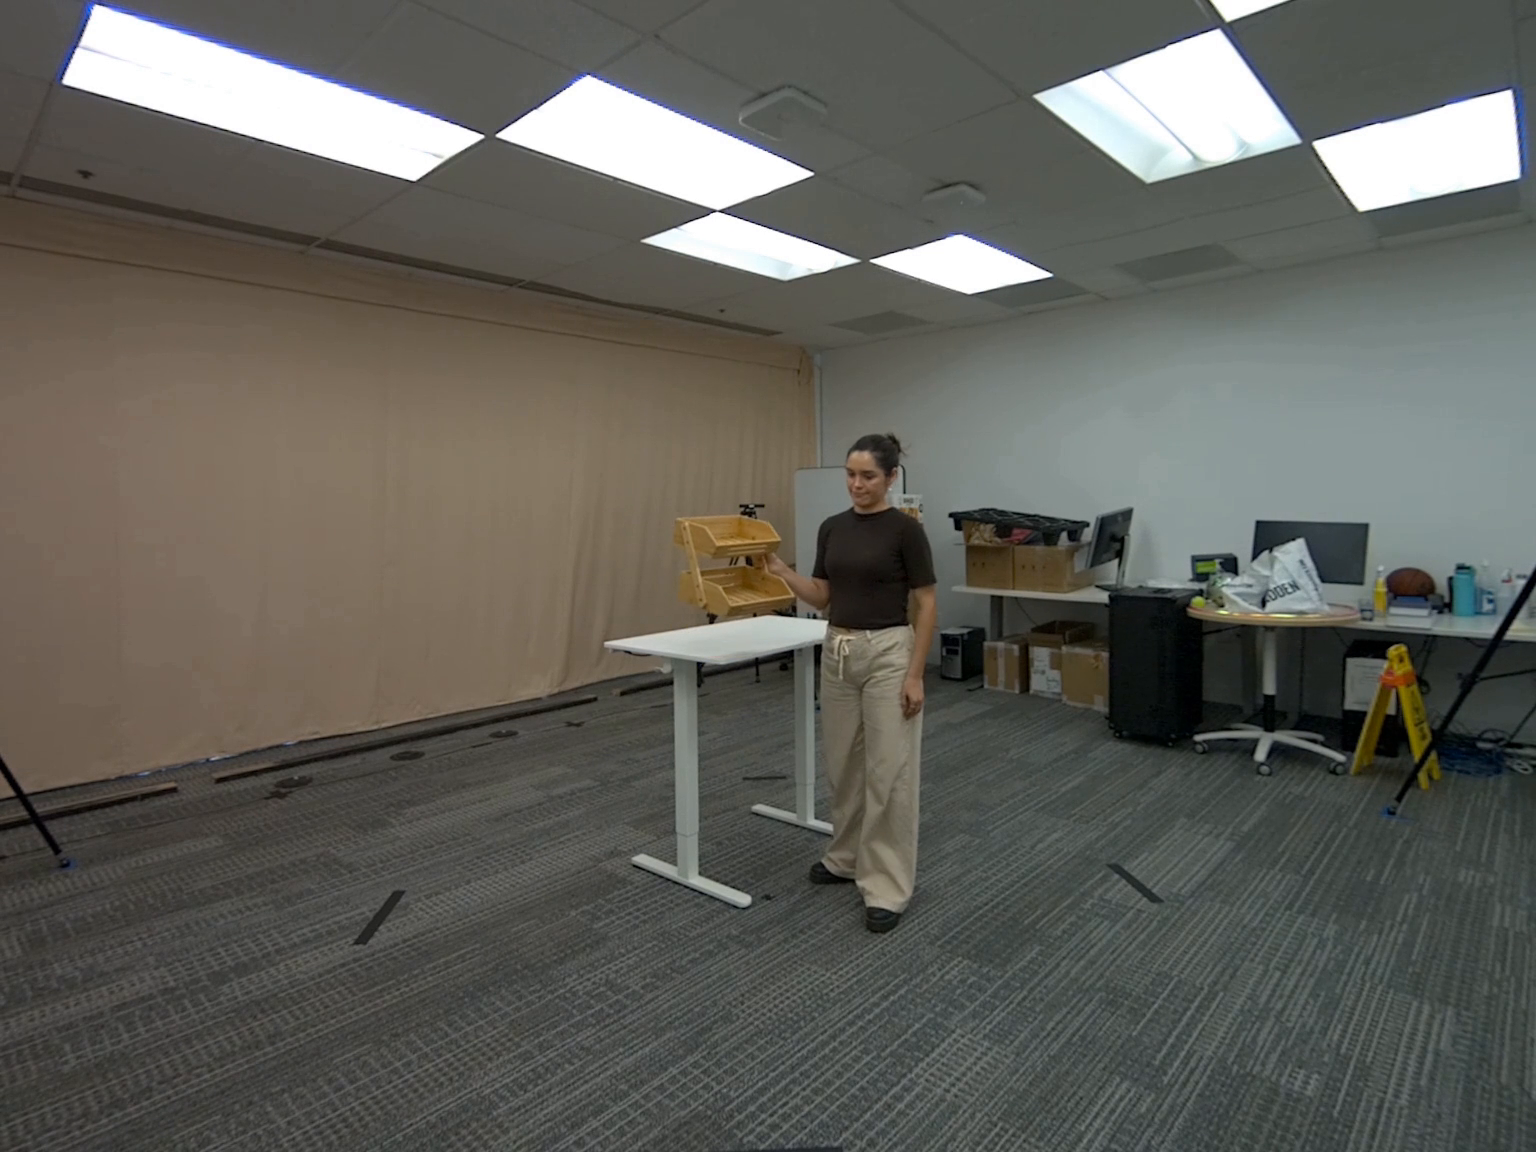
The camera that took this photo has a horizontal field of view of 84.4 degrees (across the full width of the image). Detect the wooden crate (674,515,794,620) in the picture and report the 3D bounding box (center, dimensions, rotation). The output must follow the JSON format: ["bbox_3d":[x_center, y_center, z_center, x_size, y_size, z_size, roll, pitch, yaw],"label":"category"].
[{"bbox_3d":[-0.104,-0.037,2.783,0.314,0.272,0.313,-5,16,-44],"label":"wooden crate"}]
